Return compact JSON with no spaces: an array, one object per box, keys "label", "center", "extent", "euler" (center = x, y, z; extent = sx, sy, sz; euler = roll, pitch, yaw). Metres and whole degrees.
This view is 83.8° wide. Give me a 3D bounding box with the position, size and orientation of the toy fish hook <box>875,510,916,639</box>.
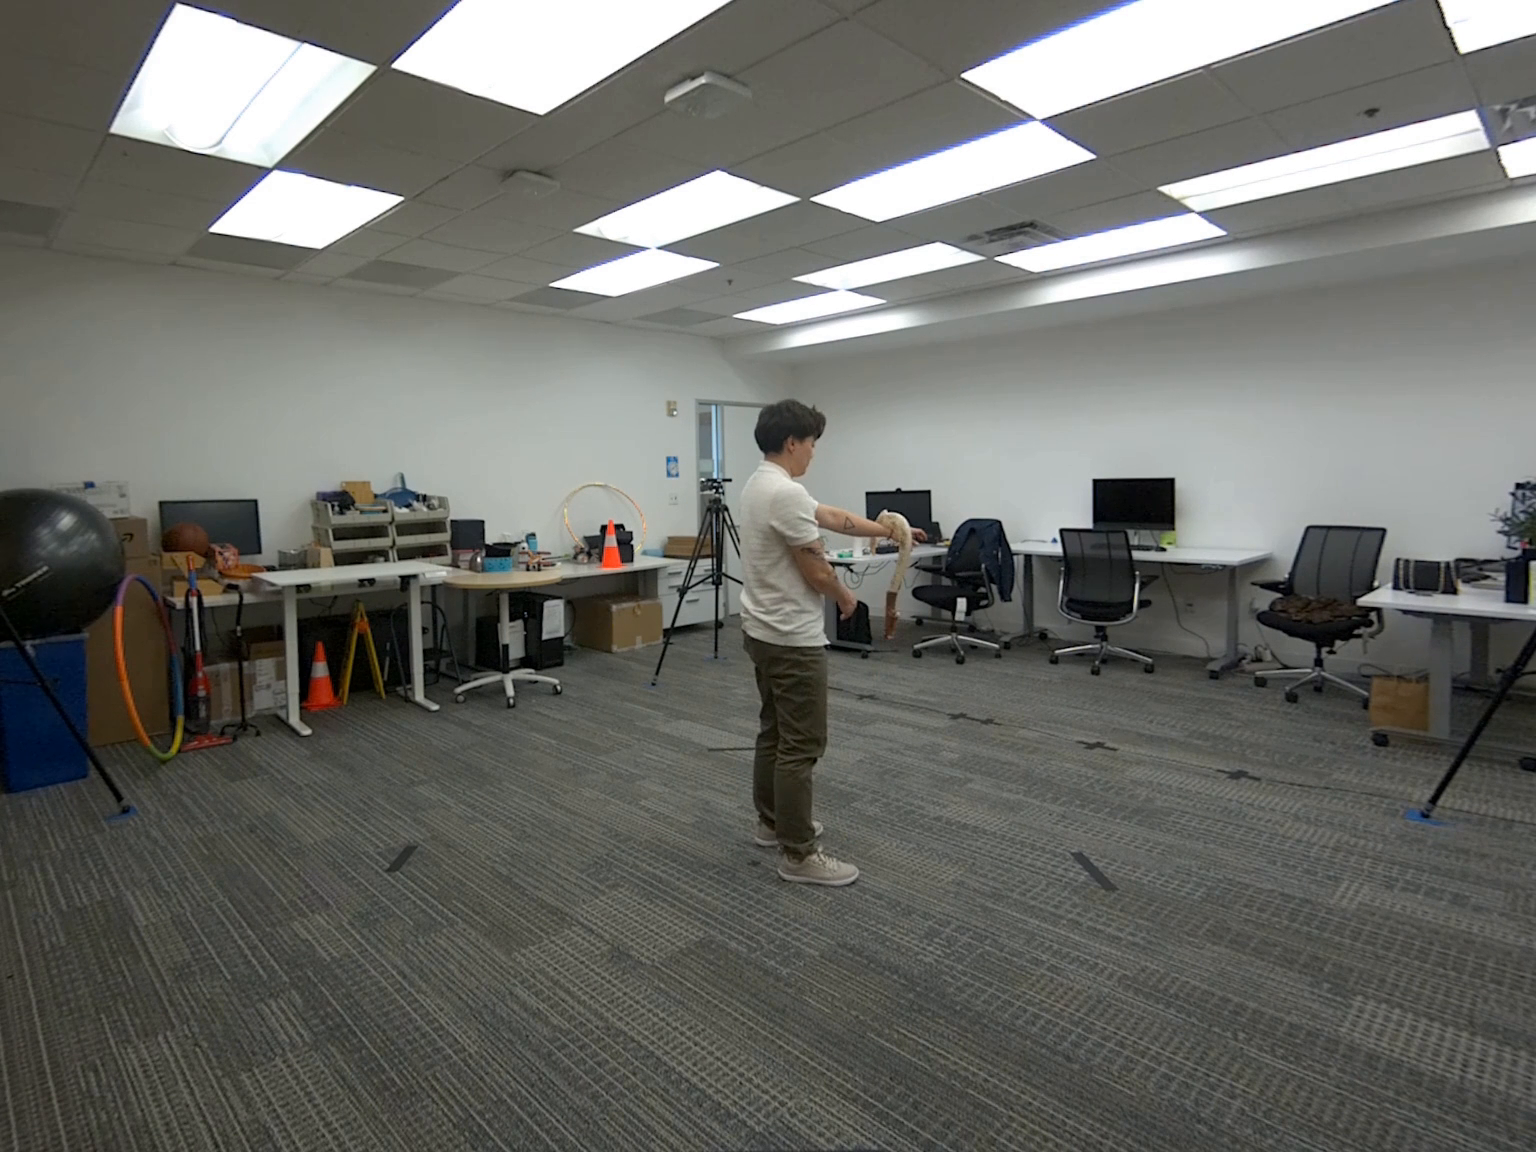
[{"label":"toy fish hook","center":[0.464,-0.007,3.404],"extent":[0.047,0.500,0.232],"euler":[-4,17,-30]}]
